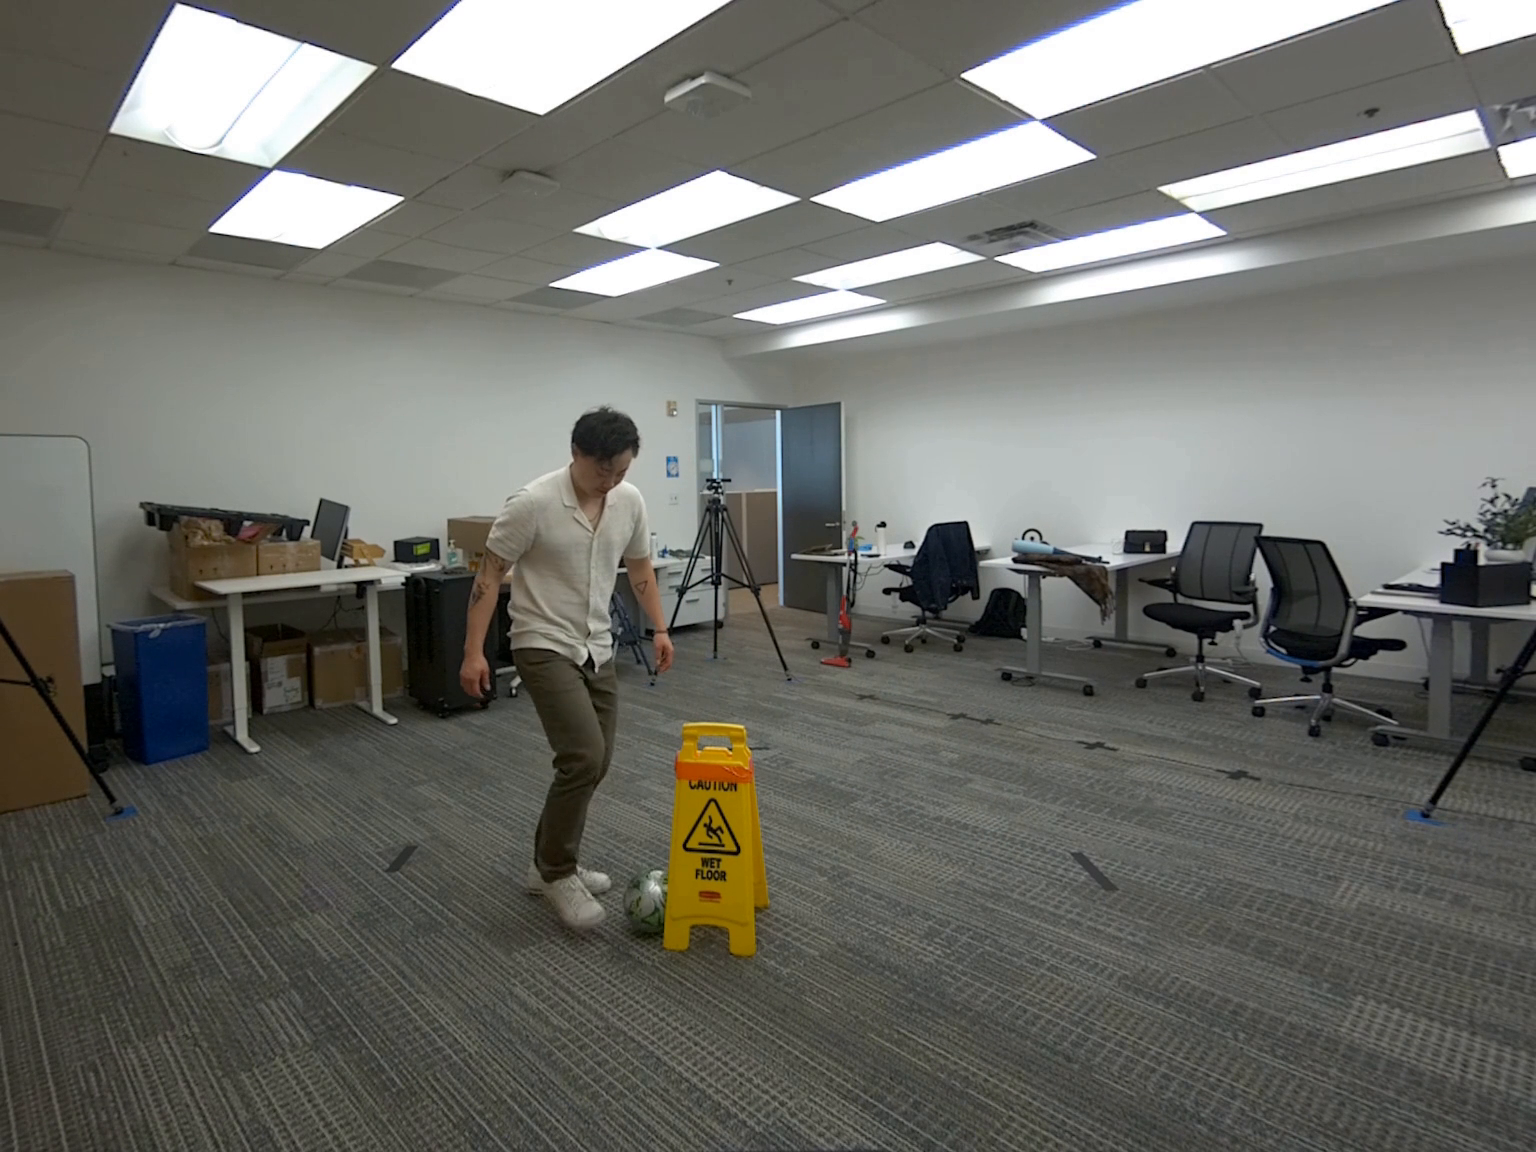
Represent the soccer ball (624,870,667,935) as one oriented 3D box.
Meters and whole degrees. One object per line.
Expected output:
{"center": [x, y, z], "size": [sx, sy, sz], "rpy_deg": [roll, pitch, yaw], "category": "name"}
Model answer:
{"center": [-0.359, 1.006, 2.659], "size": [0.187, 0.187, 0.188], "rpy_deg": [-1, 5, -2], "category": "soccer ball"}
